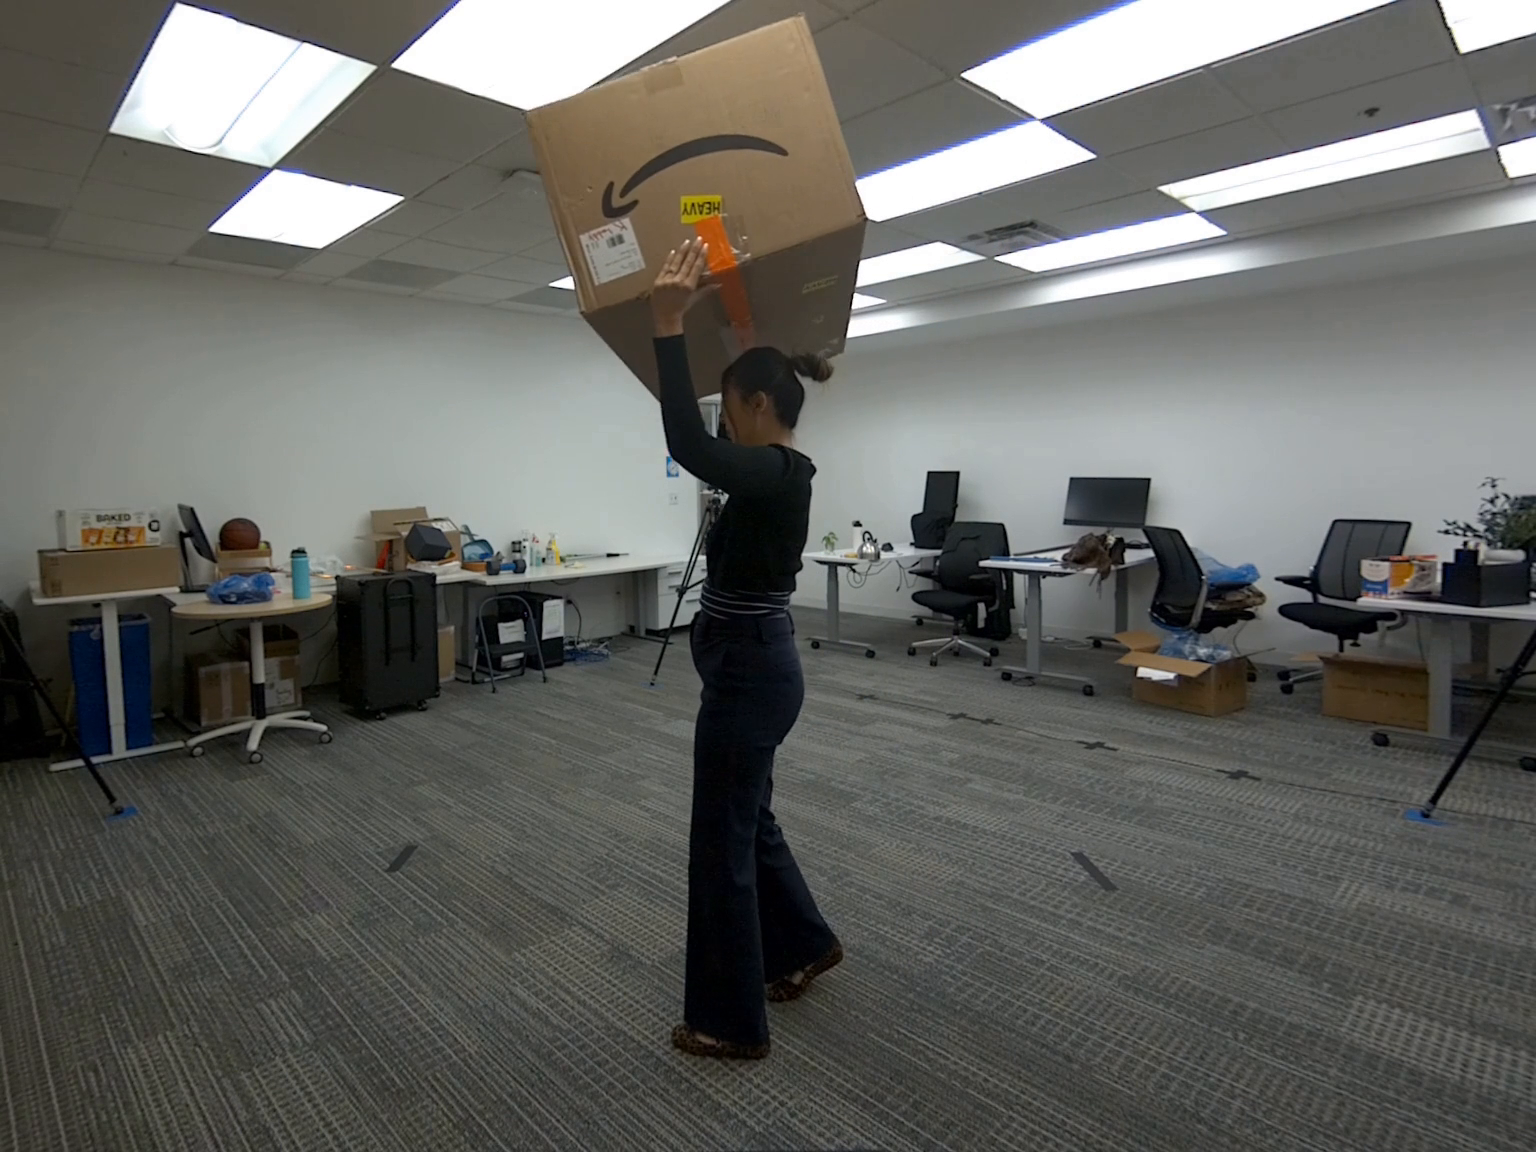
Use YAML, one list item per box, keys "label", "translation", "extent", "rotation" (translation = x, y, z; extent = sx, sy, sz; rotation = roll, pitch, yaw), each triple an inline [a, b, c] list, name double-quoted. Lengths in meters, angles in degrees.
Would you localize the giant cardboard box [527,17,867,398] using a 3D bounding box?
- label: "giant cardboard box"
  translation: [-0.107, -0.789, 2.119]
  extent: [0.579, 0.427, 1.020]
  rotation: [-16, -1, 3]
